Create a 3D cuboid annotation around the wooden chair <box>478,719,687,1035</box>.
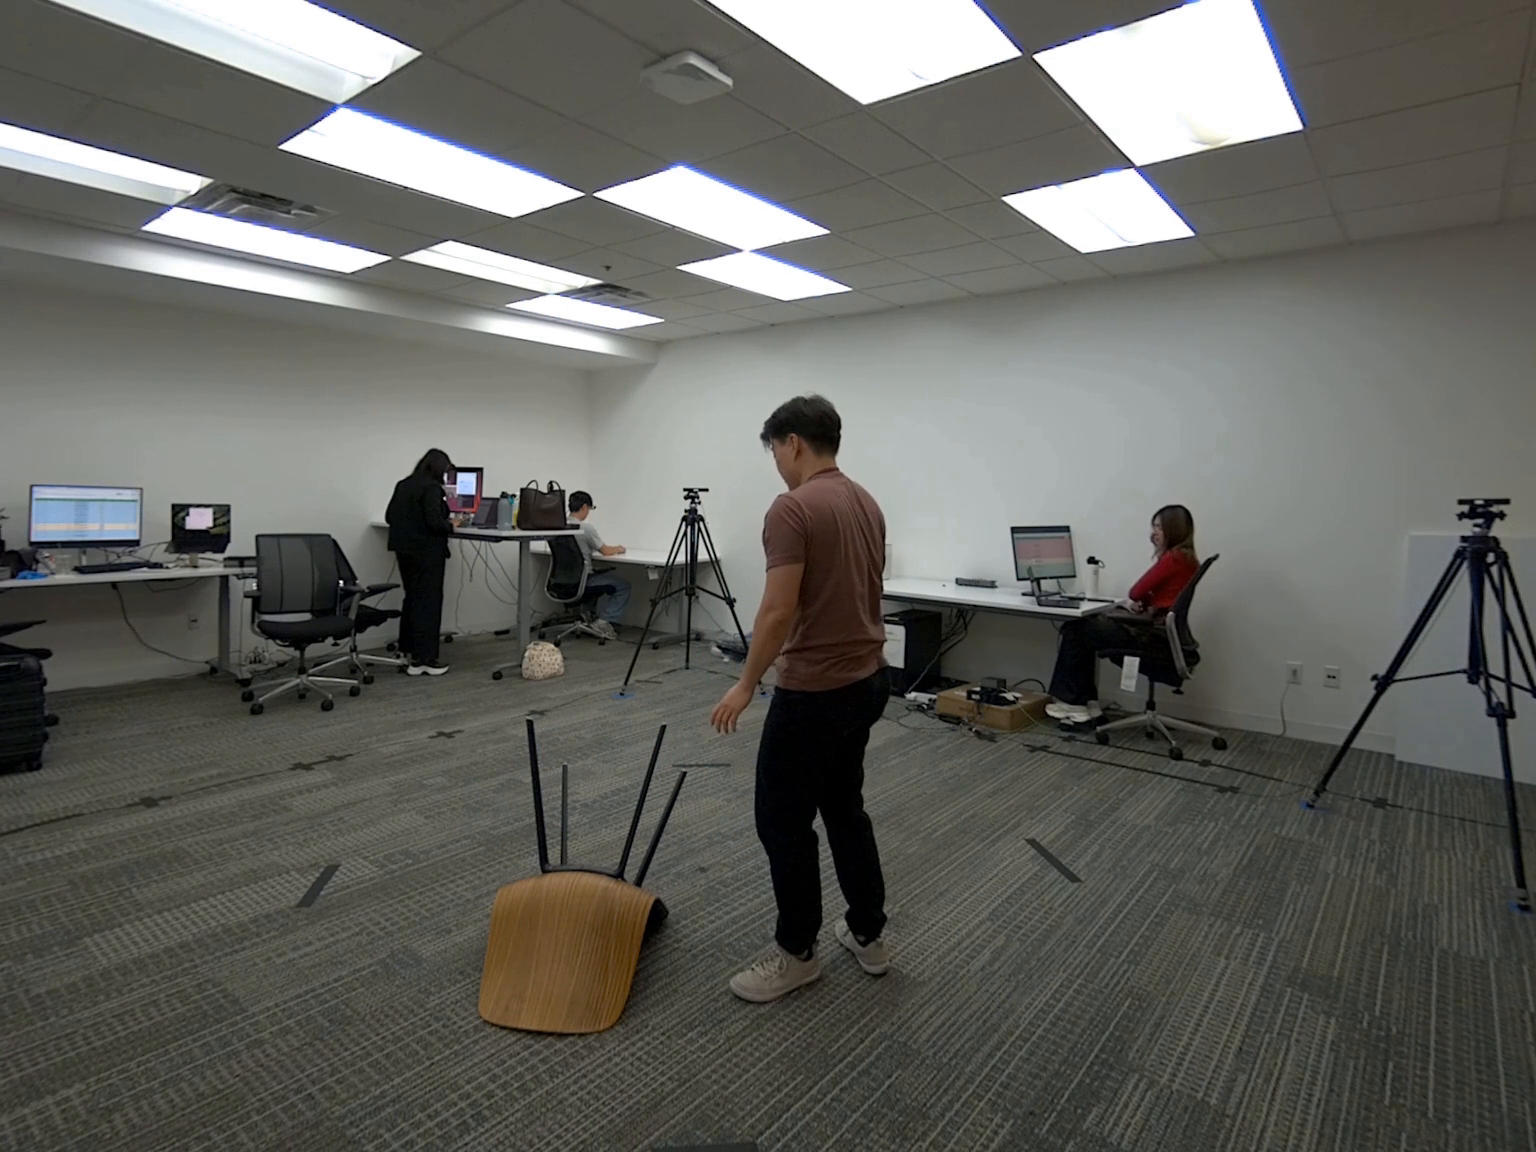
[{"bbox_3d":[-0.553,0.943,2.612,0.481,0.899,0.507,0,-36,5],"label":"wooden chair"}]
